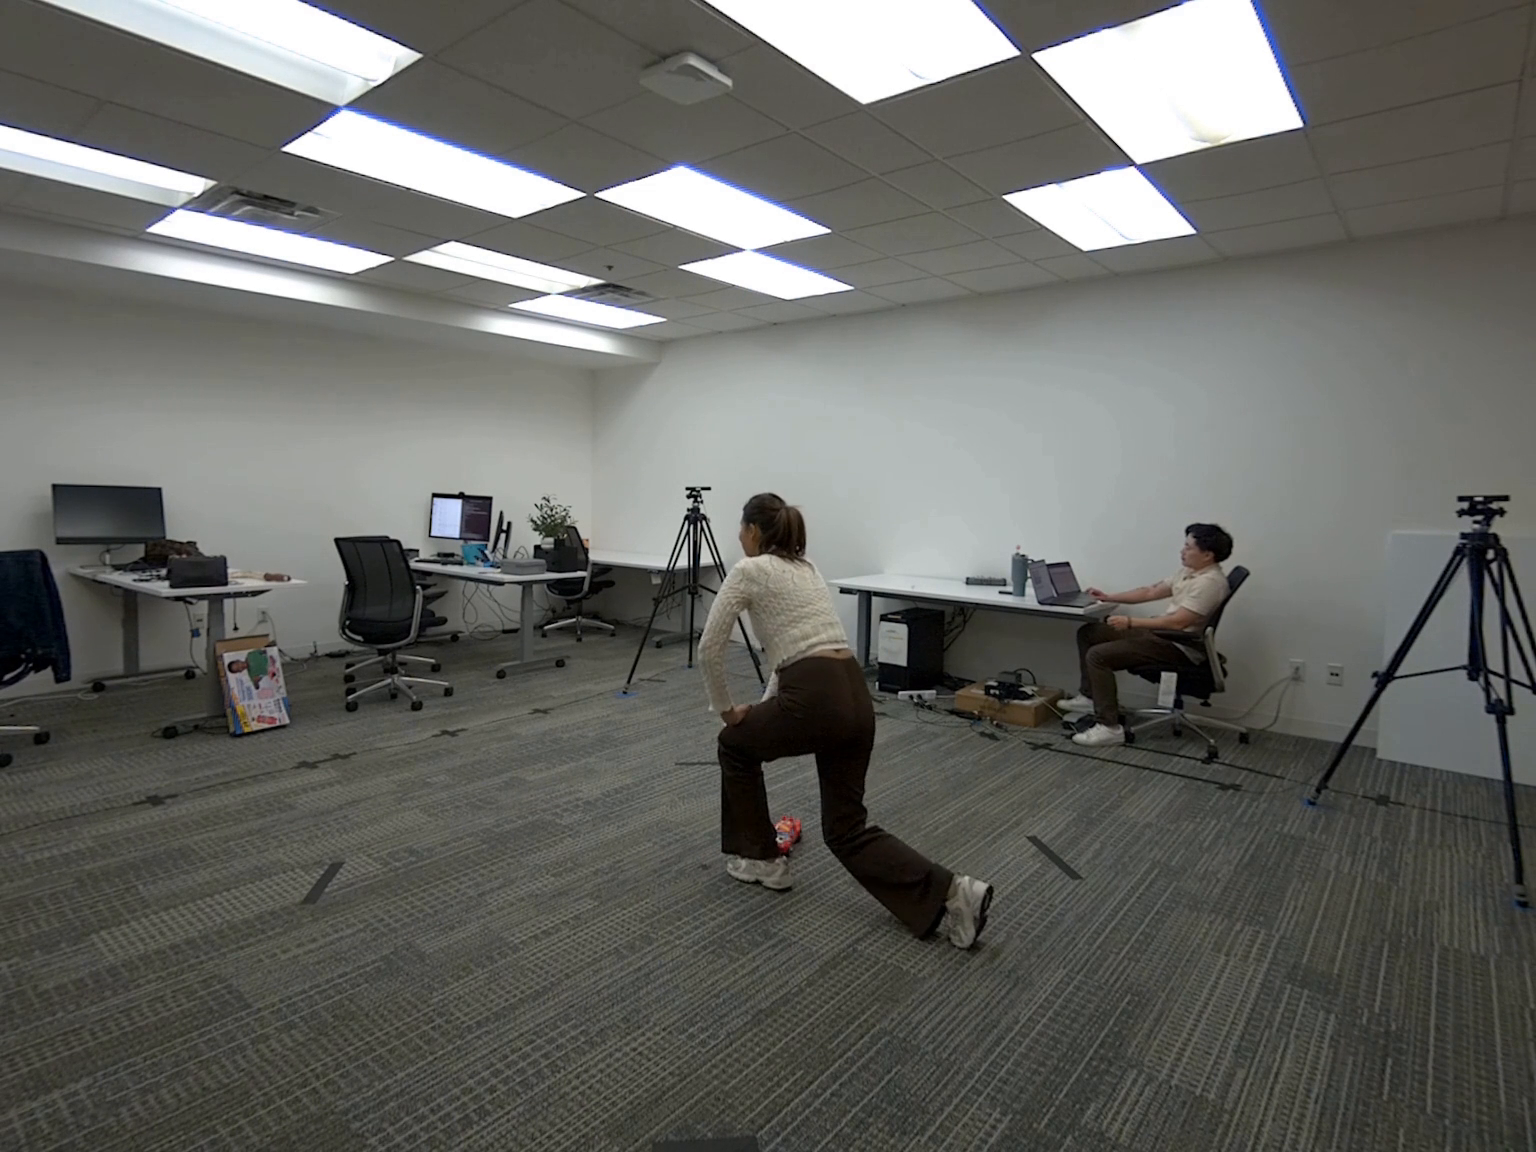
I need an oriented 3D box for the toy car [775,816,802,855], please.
[{"bbox_3d":[0.051,1.014,3.337,0.133,0.082,0.253,2,17,18],"label":"toy car"}]
